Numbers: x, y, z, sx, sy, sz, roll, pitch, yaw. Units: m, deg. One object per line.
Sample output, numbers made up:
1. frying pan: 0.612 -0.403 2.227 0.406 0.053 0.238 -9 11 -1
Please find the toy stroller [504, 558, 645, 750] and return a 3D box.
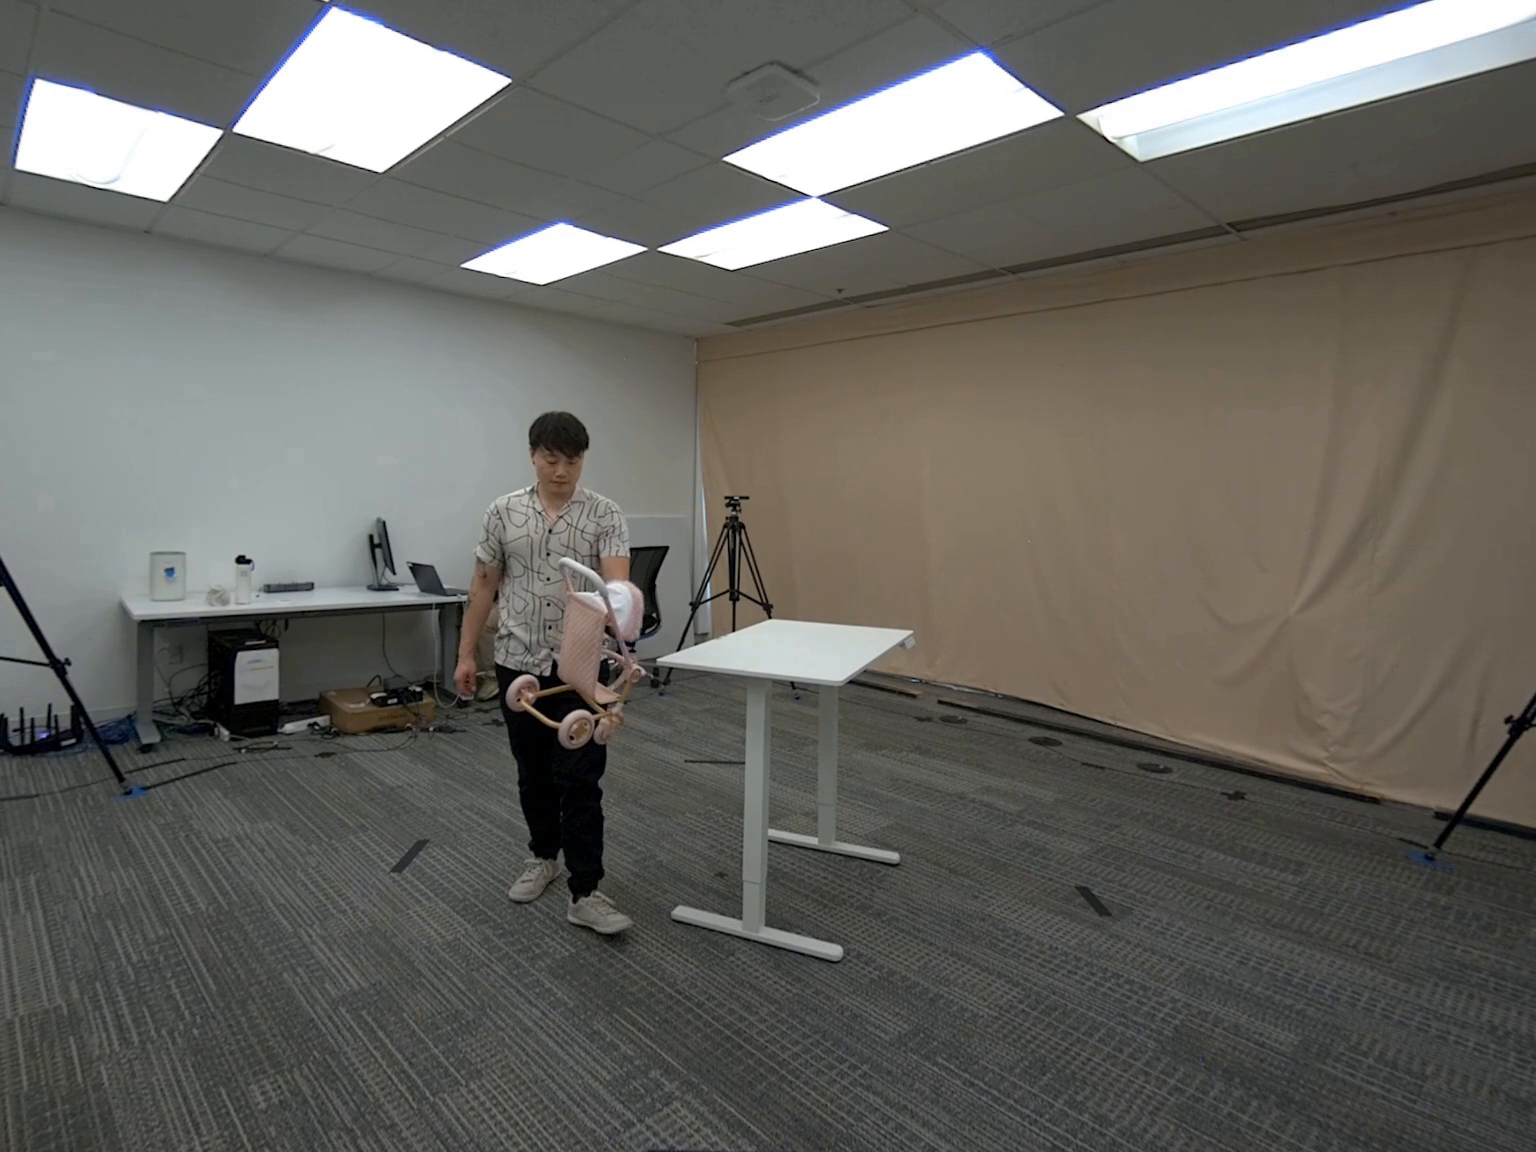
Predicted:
1. toy stroller: -0.501 0.242 2.404 0.290 0.534 0.332 21 5 41
